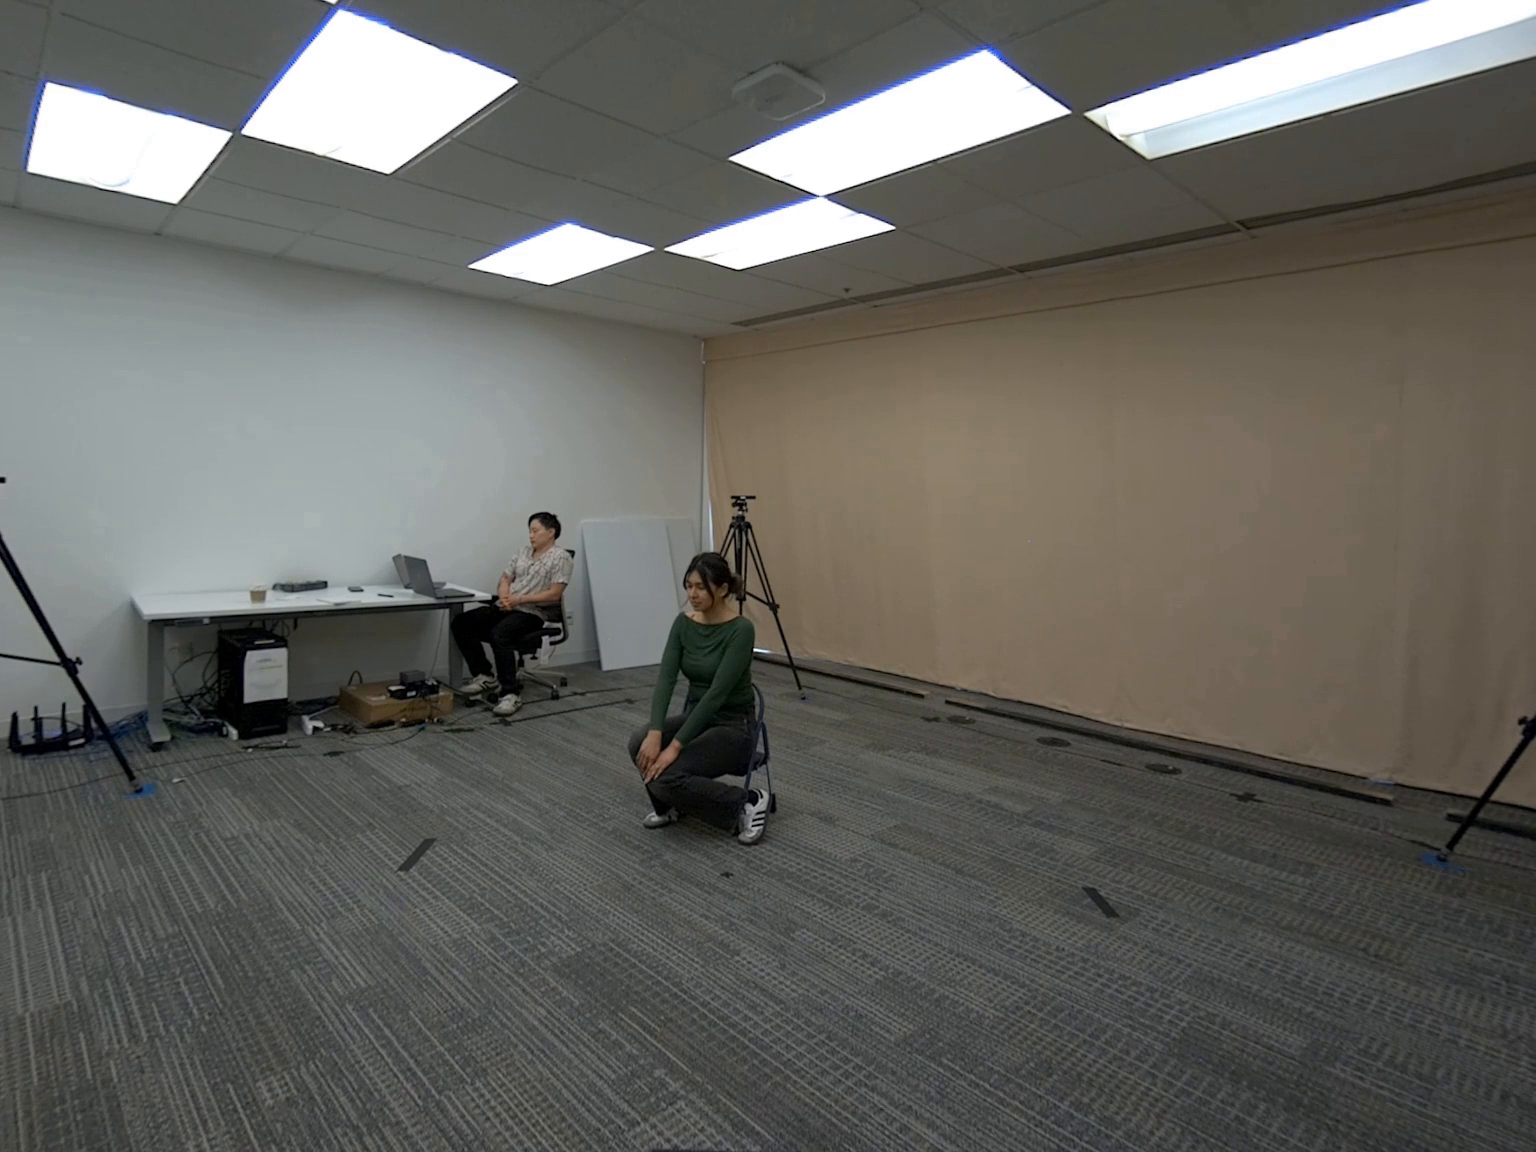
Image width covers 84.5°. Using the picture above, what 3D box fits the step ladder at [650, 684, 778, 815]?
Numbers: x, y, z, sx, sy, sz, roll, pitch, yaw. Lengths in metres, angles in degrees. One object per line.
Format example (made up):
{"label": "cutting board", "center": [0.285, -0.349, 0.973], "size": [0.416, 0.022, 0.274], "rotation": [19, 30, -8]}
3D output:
{"label": "step ladder", "center": [-0.218, 0.753, 3.701], "size": [0.440, 0.605, 0.342], "rotation": [4, 3, 30]}
